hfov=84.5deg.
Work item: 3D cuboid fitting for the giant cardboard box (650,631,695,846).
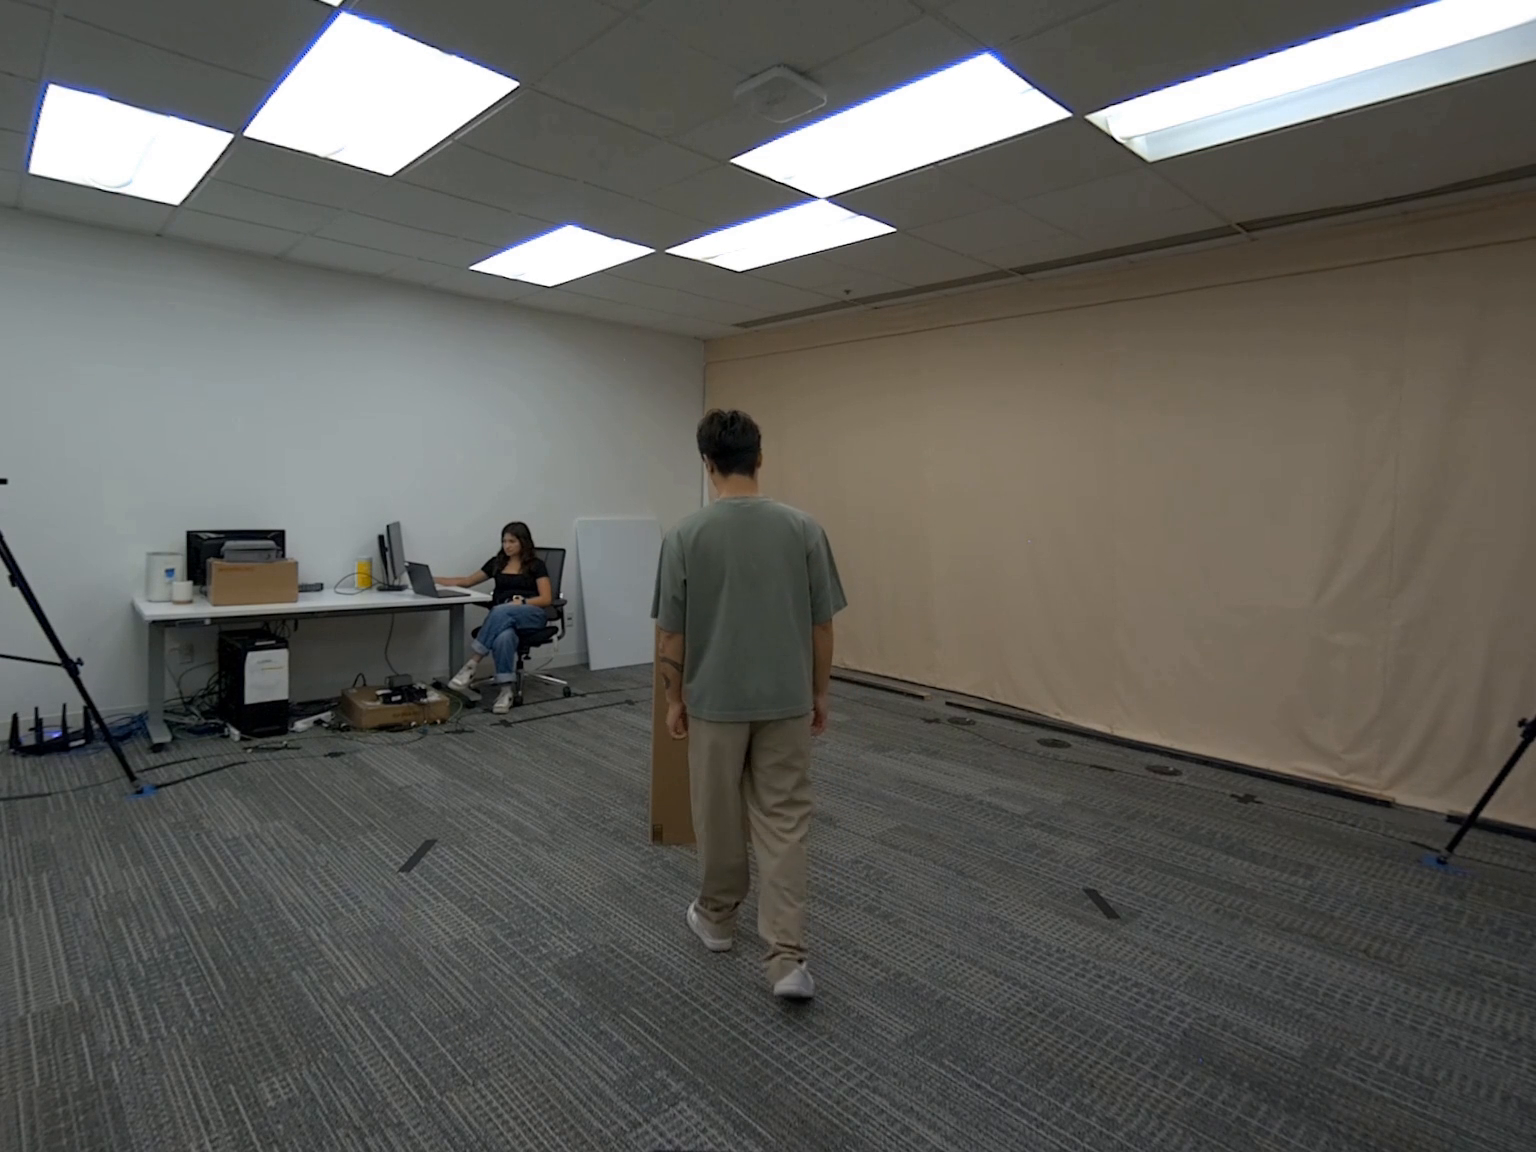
[{"bbox_3d":[-0.202,0.558,3.578,0.575,1.023,0.429,1,3,-6],"label":"giant cardboard box"}]
